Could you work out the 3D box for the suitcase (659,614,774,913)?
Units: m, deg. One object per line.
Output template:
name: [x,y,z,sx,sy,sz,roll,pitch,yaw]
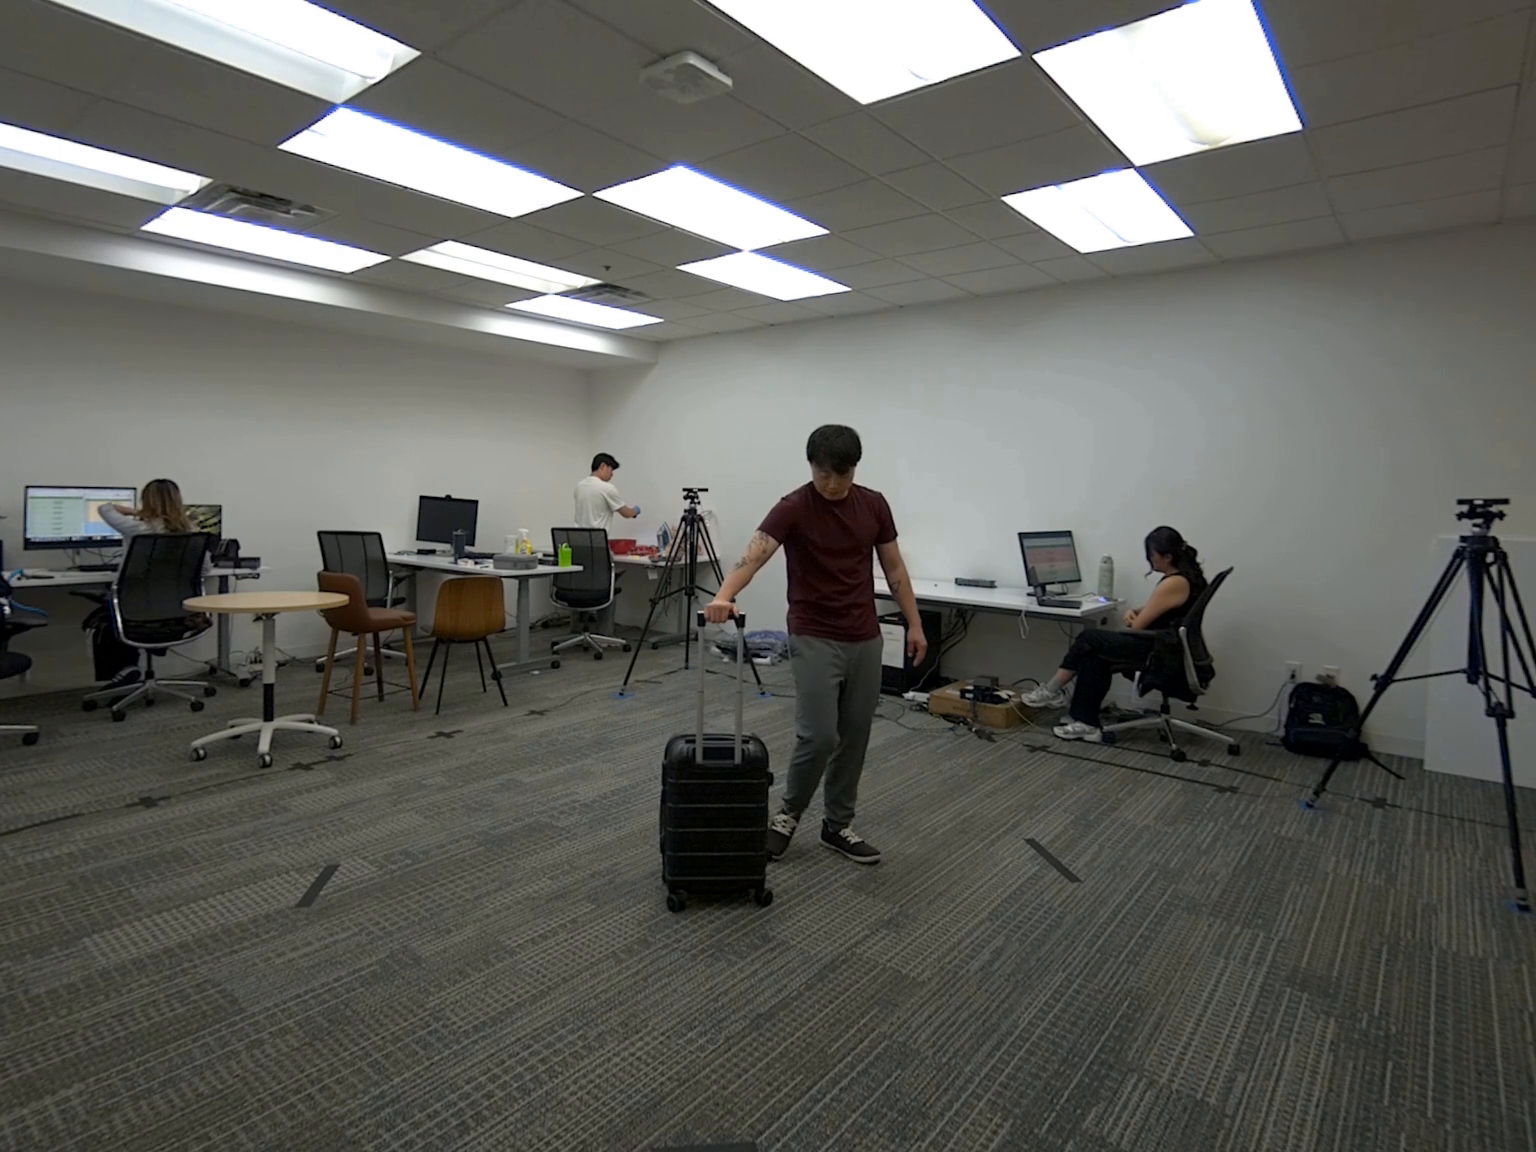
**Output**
suitcase: [-0.191,0.609,2.917,0.381,0.978,0.259,1,1,-7]
